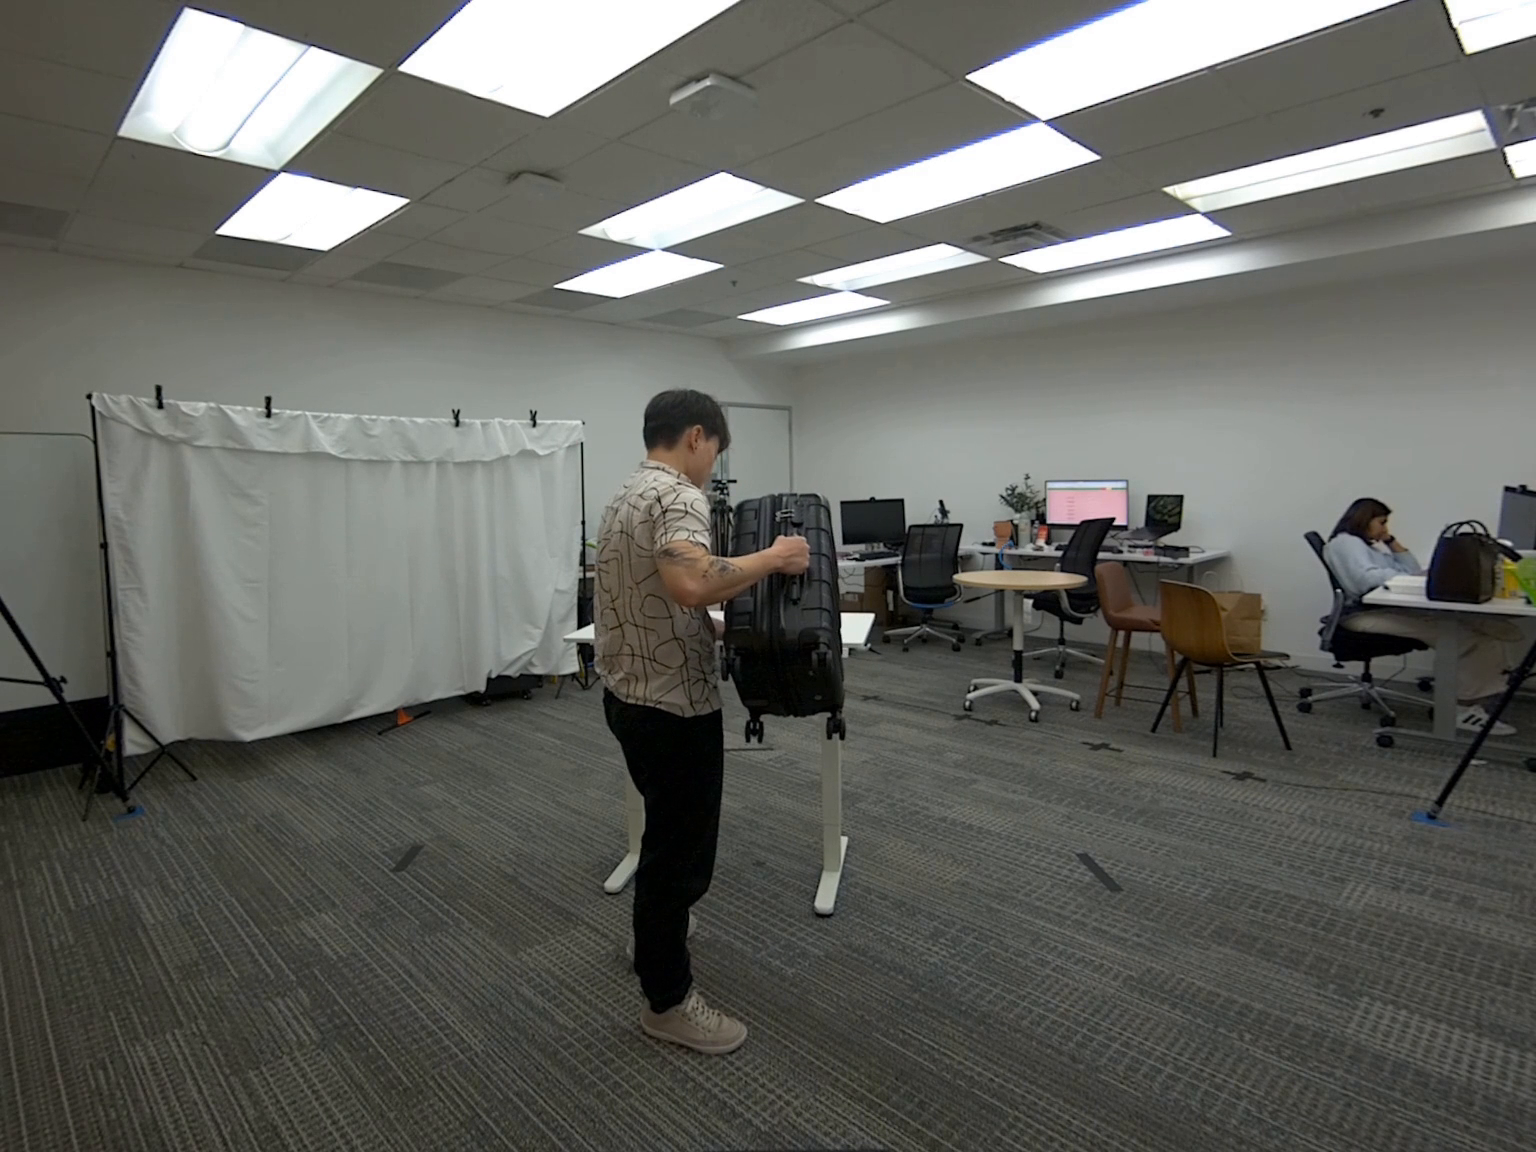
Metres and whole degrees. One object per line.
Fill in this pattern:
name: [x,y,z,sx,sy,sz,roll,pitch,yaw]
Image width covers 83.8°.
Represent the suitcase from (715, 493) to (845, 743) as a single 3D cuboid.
suitcase: [0.050,0.071,2.141,0.250,0.563,0.362,-6,-41,9]
